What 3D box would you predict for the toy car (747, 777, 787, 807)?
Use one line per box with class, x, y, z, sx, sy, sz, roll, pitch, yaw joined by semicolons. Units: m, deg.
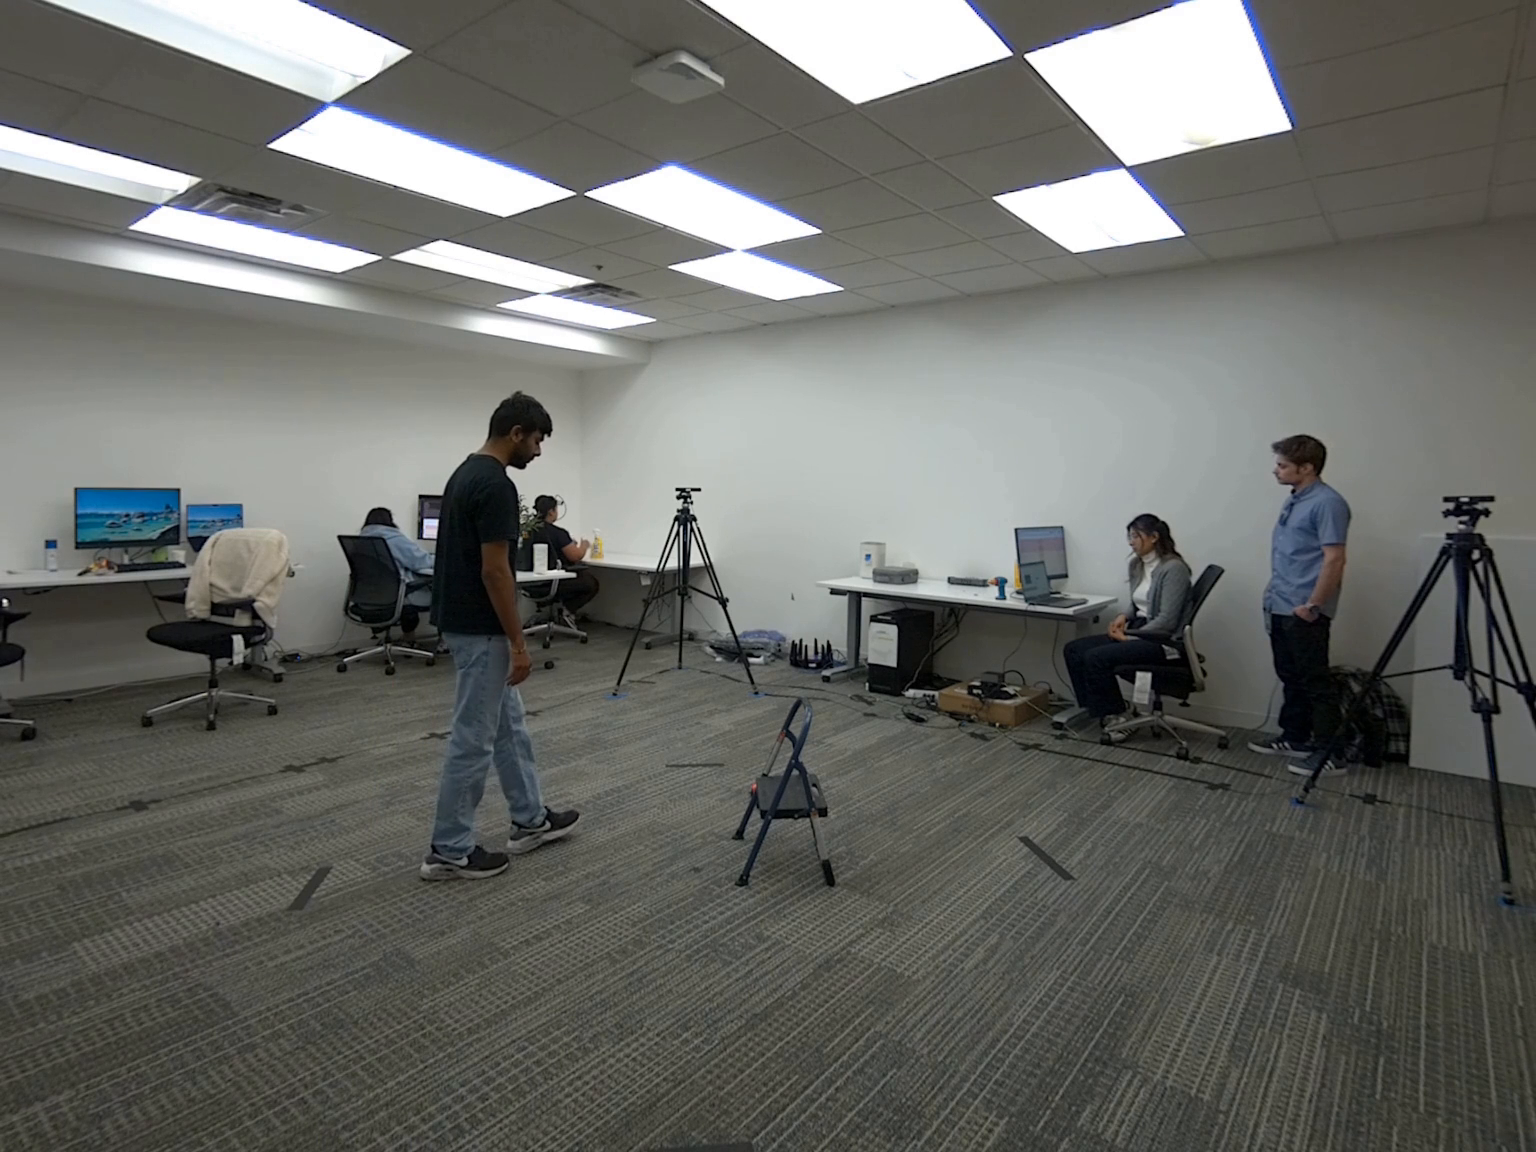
toy car;-0.009;0.968;3.781;0.129;0.084;0.255;0;-6;-10
